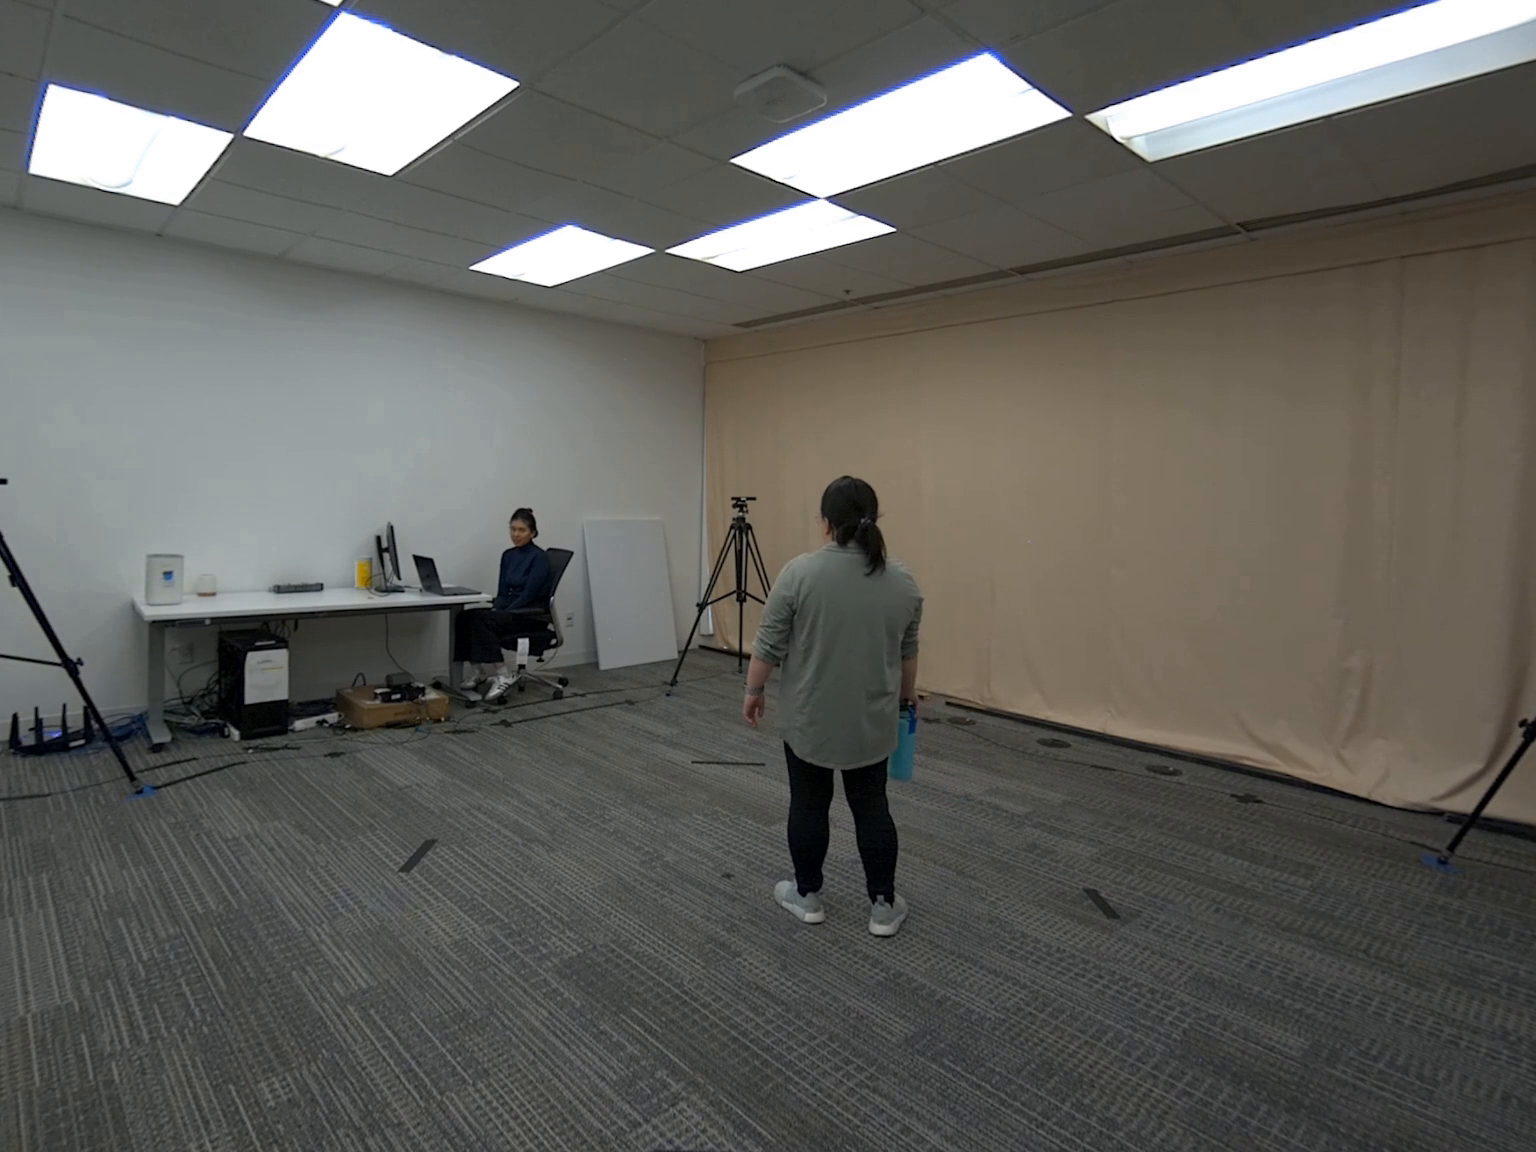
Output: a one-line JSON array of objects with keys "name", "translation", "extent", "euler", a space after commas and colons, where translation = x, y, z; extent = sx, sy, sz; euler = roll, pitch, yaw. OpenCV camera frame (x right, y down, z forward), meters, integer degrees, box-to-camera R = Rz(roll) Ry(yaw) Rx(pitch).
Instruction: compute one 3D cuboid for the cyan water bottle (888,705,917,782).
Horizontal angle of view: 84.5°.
[{"name": "cyan water bottle", "translation": [0.479, 0.587, 3.024], "extent": [0.092, 0.282, 0.093], "euler": [2, 6, -2]}]
